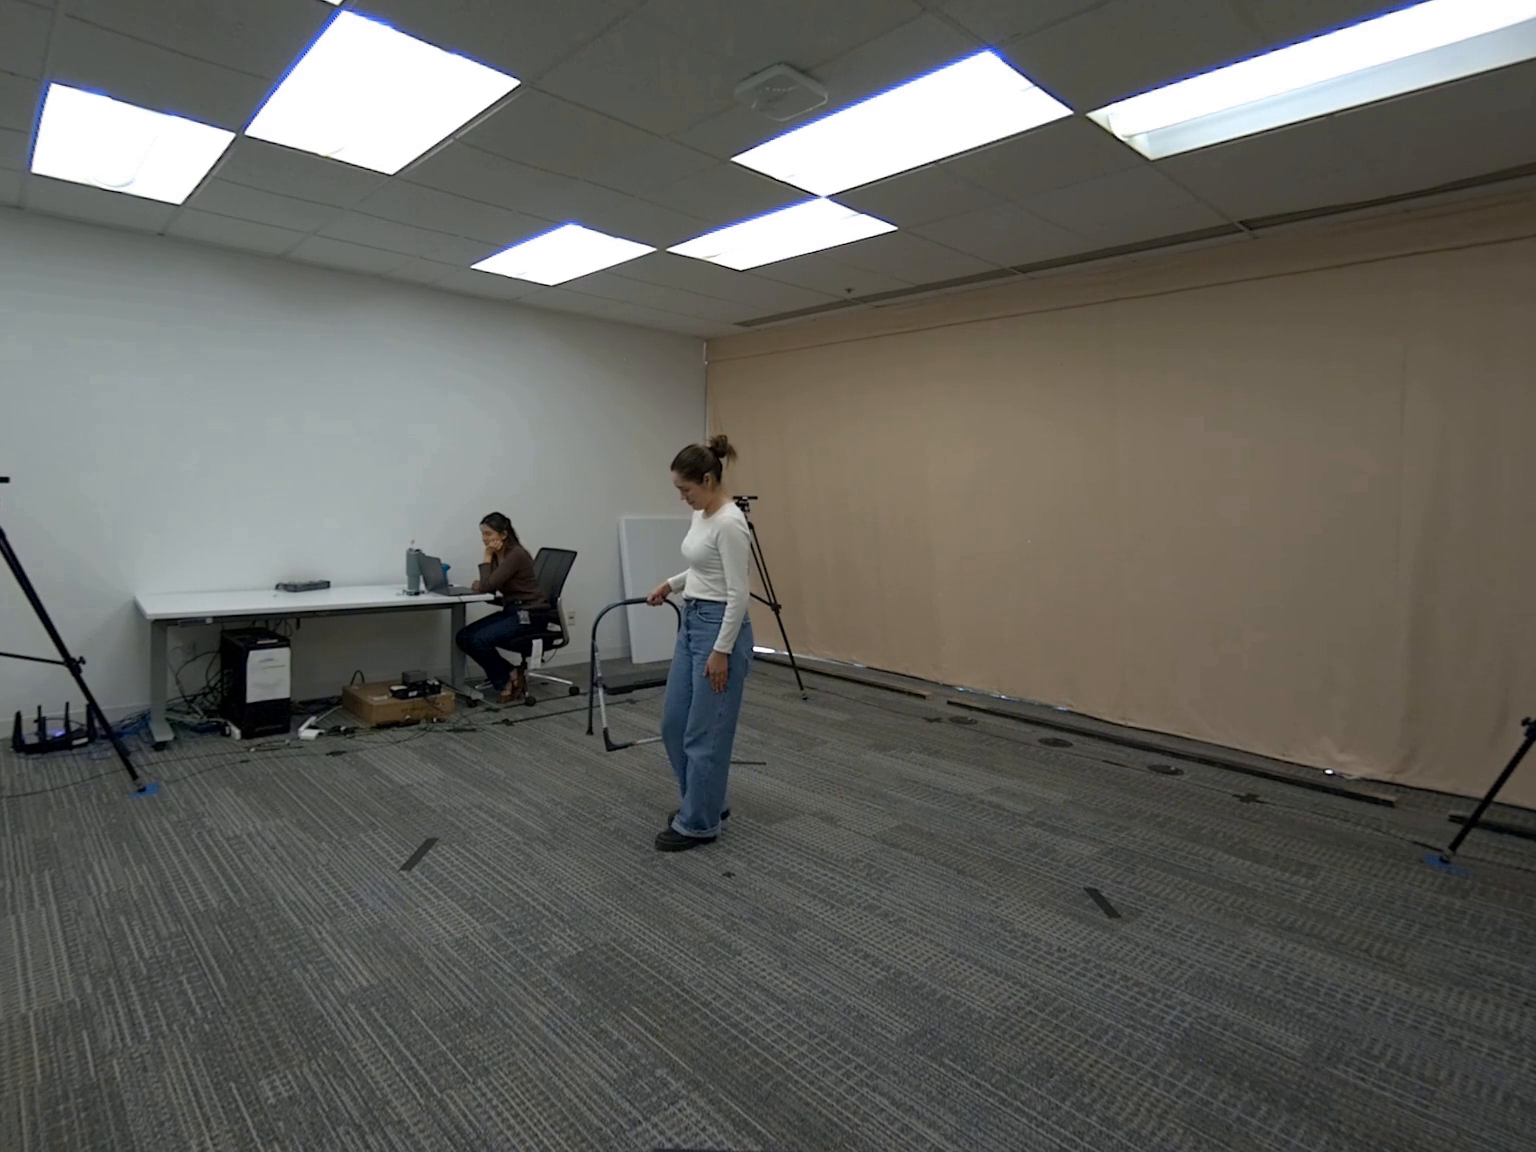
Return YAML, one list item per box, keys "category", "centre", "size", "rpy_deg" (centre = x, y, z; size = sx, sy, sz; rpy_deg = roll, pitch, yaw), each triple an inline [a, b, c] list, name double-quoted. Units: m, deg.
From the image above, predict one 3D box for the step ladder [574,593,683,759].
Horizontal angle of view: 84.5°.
- category: "step ladder"
  centre: [-0.563, 0.403, 3.658]
  size: [0.423, 0.604, 0.356]
  rpy_deg: [-5, 4, -25]
